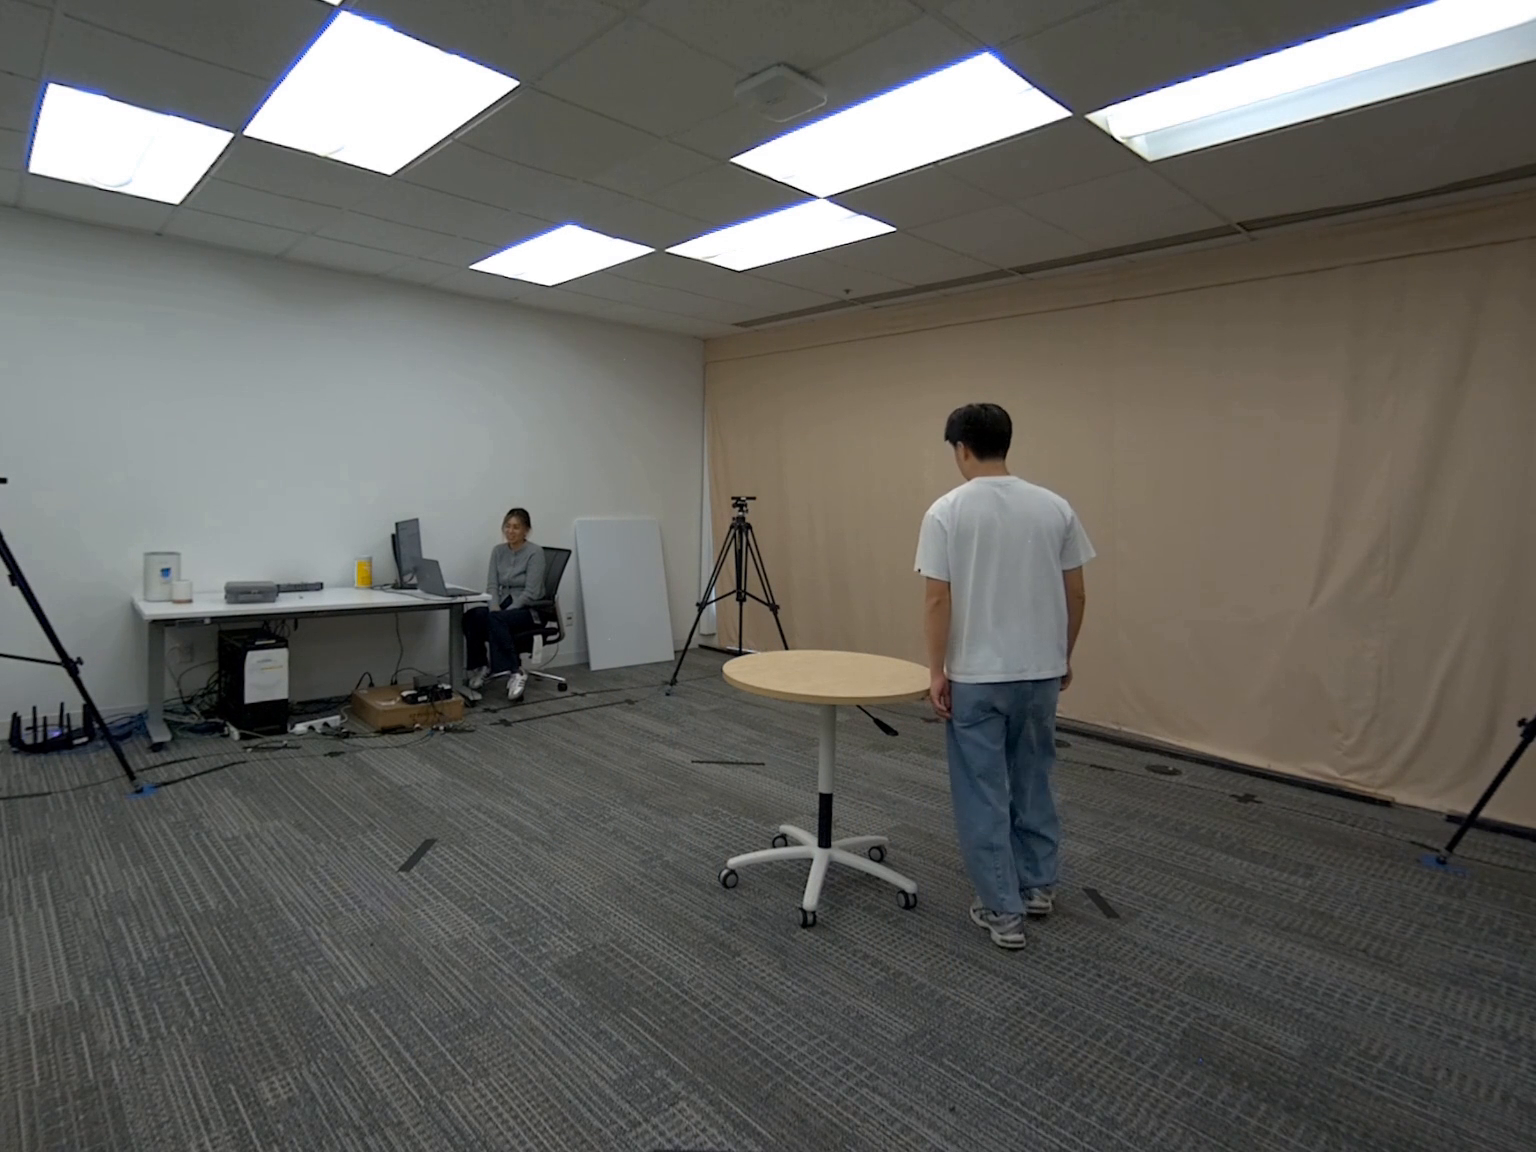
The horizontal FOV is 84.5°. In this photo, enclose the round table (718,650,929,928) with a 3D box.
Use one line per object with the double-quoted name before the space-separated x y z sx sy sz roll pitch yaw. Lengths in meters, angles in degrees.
"round table" 0.198 0.731 3.032 0.763 0.792 0.767 1 4 -1
